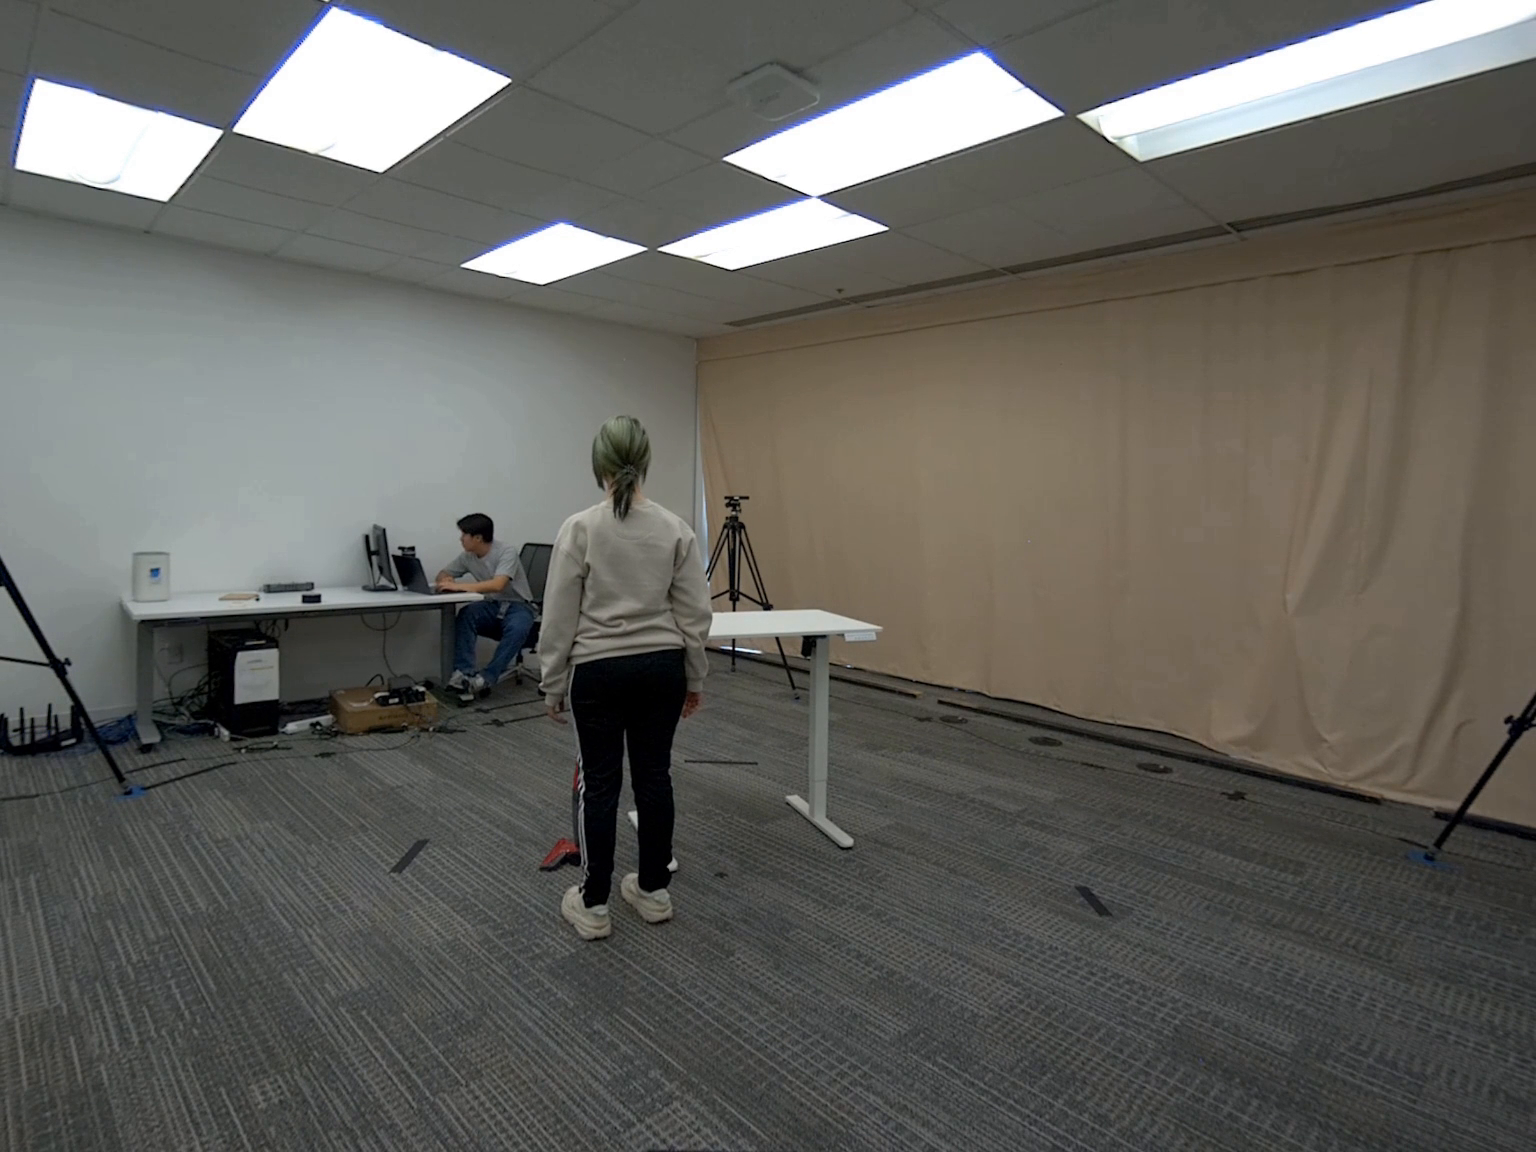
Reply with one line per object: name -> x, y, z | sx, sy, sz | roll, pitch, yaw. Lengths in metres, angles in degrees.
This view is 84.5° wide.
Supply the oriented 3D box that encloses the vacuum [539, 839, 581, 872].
vacuum -> -0.636, 0.587, 3.171 | 0.144, 1.046, 0.252 | 16, 5, 2
